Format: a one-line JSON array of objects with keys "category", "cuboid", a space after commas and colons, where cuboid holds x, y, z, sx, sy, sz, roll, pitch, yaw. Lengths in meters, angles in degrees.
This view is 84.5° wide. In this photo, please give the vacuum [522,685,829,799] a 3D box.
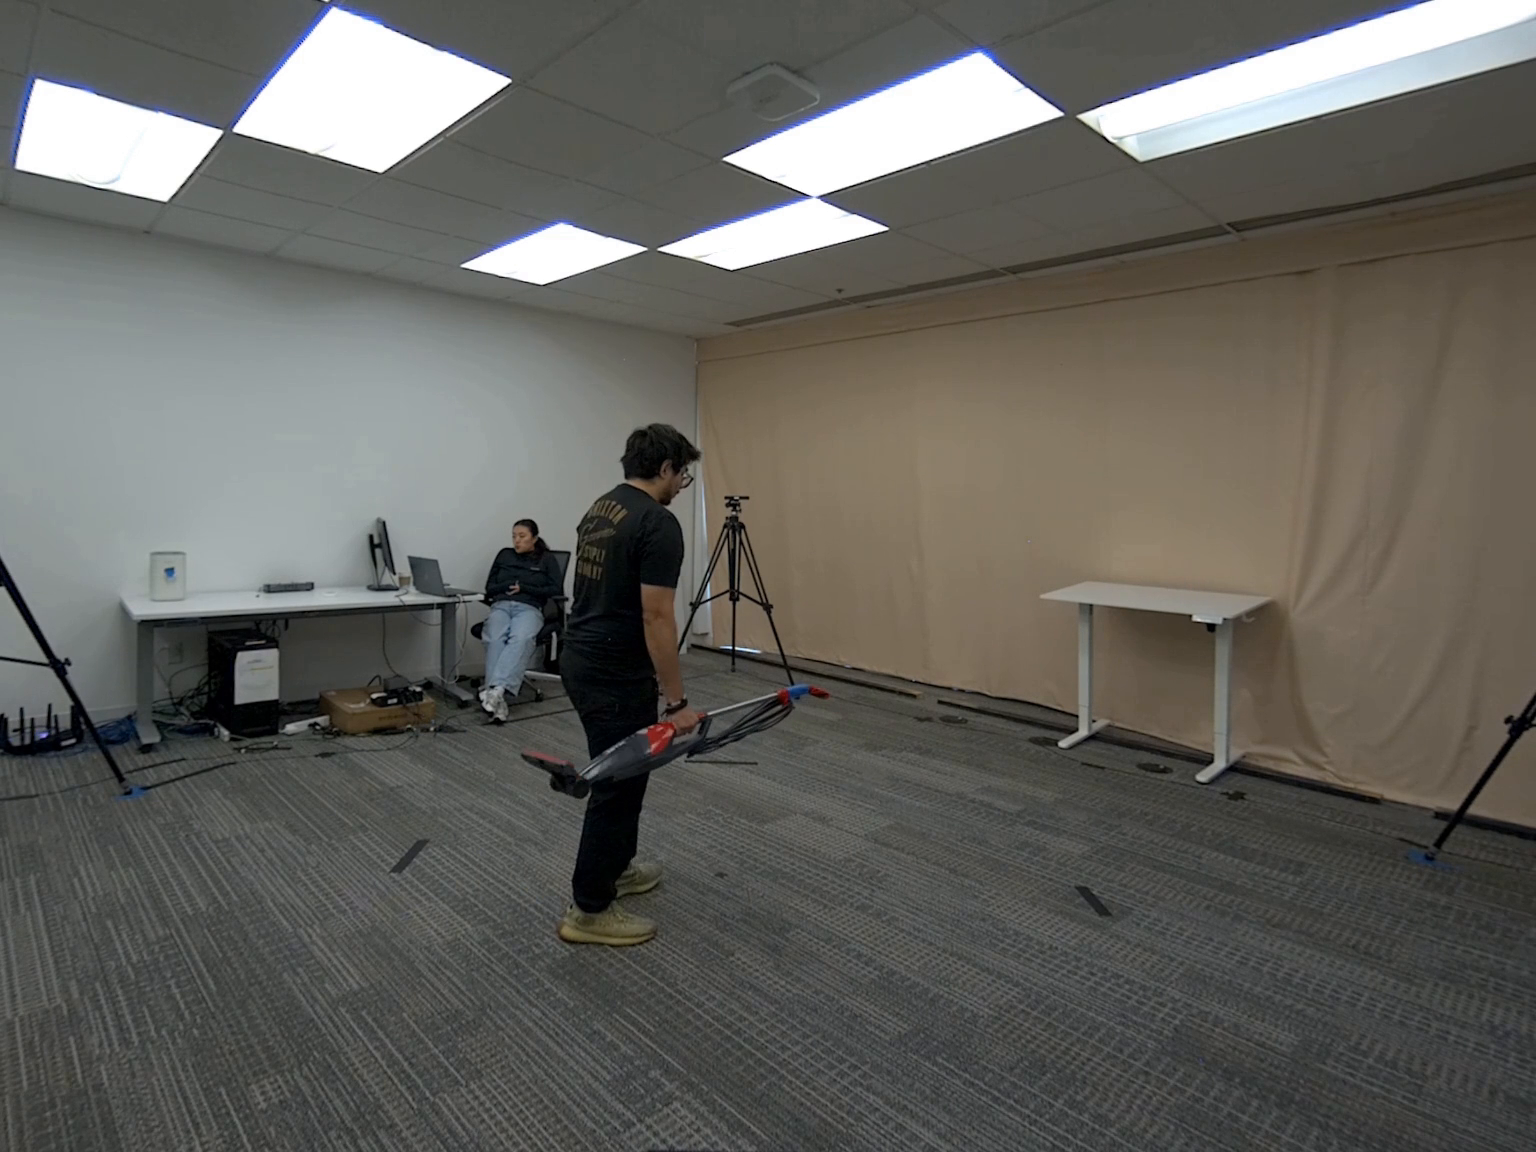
[{"category": "vacuum", "cuboid": [-0.193, 0.477, 2.579, 1.028, 0.144, 0.257, -8, 0, -39]}]
